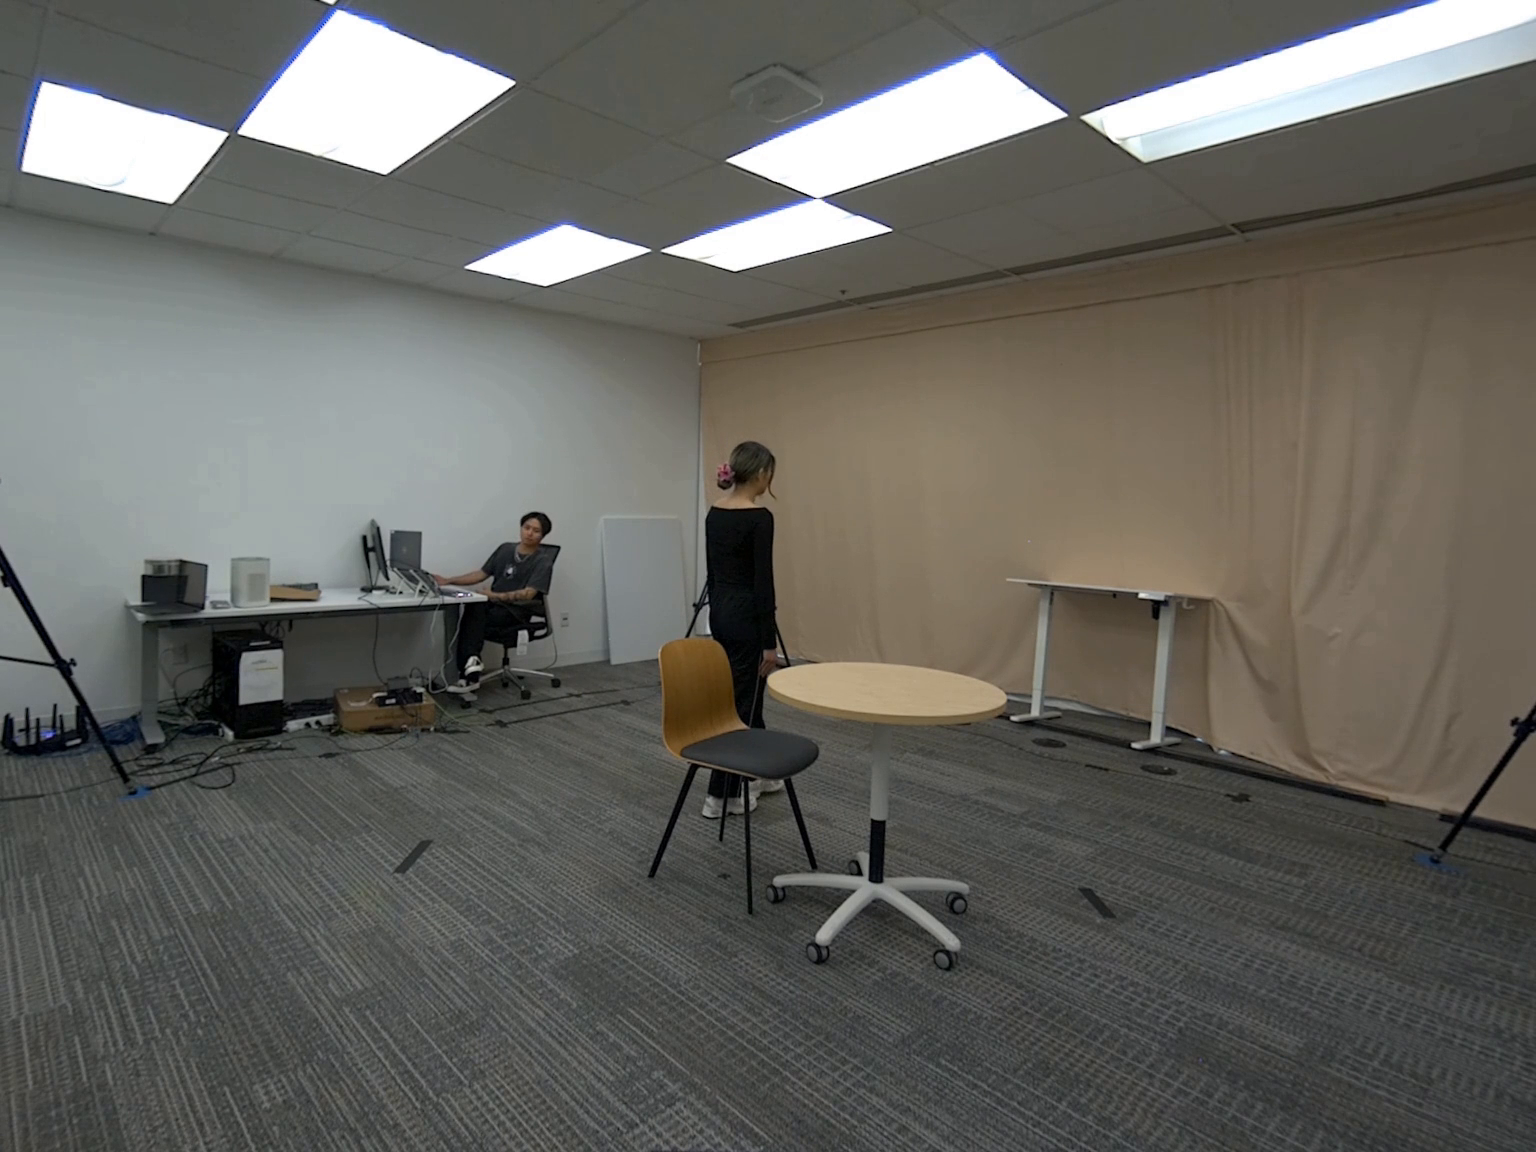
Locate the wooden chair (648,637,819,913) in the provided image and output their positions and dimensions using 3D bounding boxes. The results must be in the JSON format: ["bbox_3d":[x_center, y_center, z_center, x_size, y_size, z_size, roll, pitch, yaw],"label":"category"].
[{"bbox_3d":[-0.116,0.681,3.090,0.534,0.877,0.468,-2,1,35],"label":"wooden chair"}]
